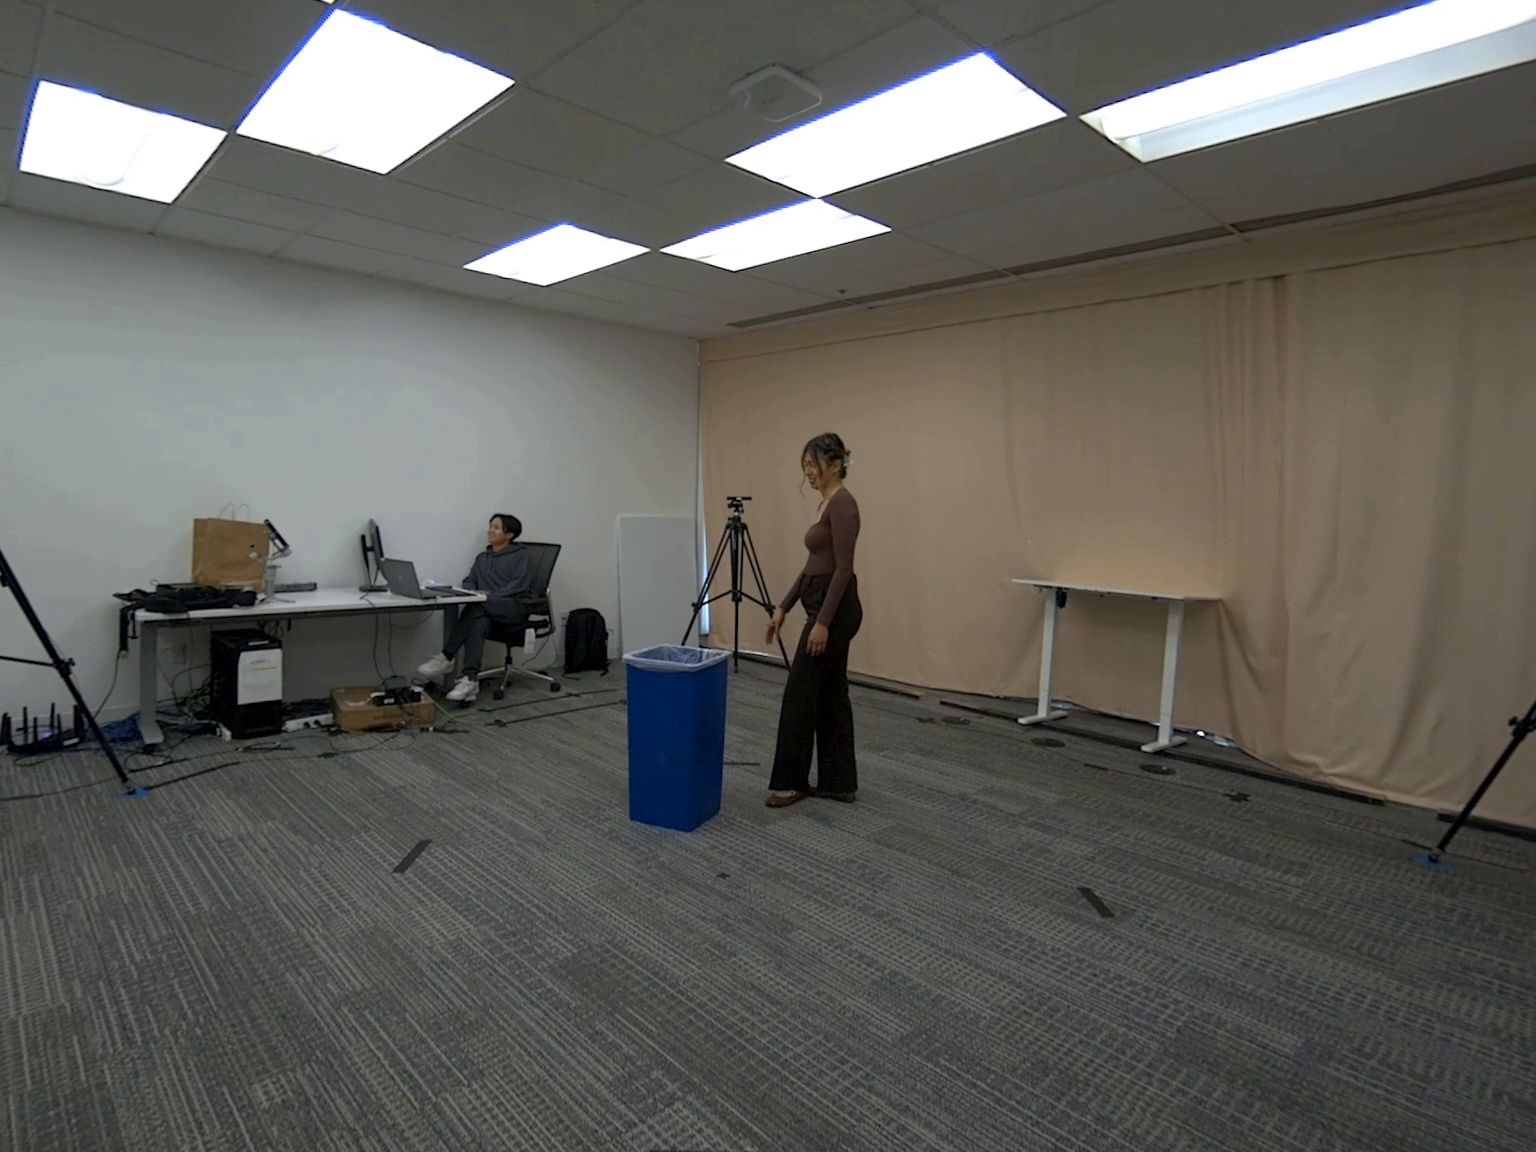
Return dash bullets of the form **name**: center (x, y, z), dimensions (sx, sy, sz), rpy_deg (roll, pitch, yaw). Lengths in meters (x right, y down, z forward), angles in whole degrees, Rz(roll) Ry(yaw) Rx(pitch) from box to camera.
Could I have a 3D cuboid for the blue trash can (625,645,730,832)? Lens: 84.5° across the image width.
- **blue trash can**: center (-0.406, 0.693, 3.668), dimensions (0.385, 0.712, 0.368), rpy_deg (3, 3, 25)
